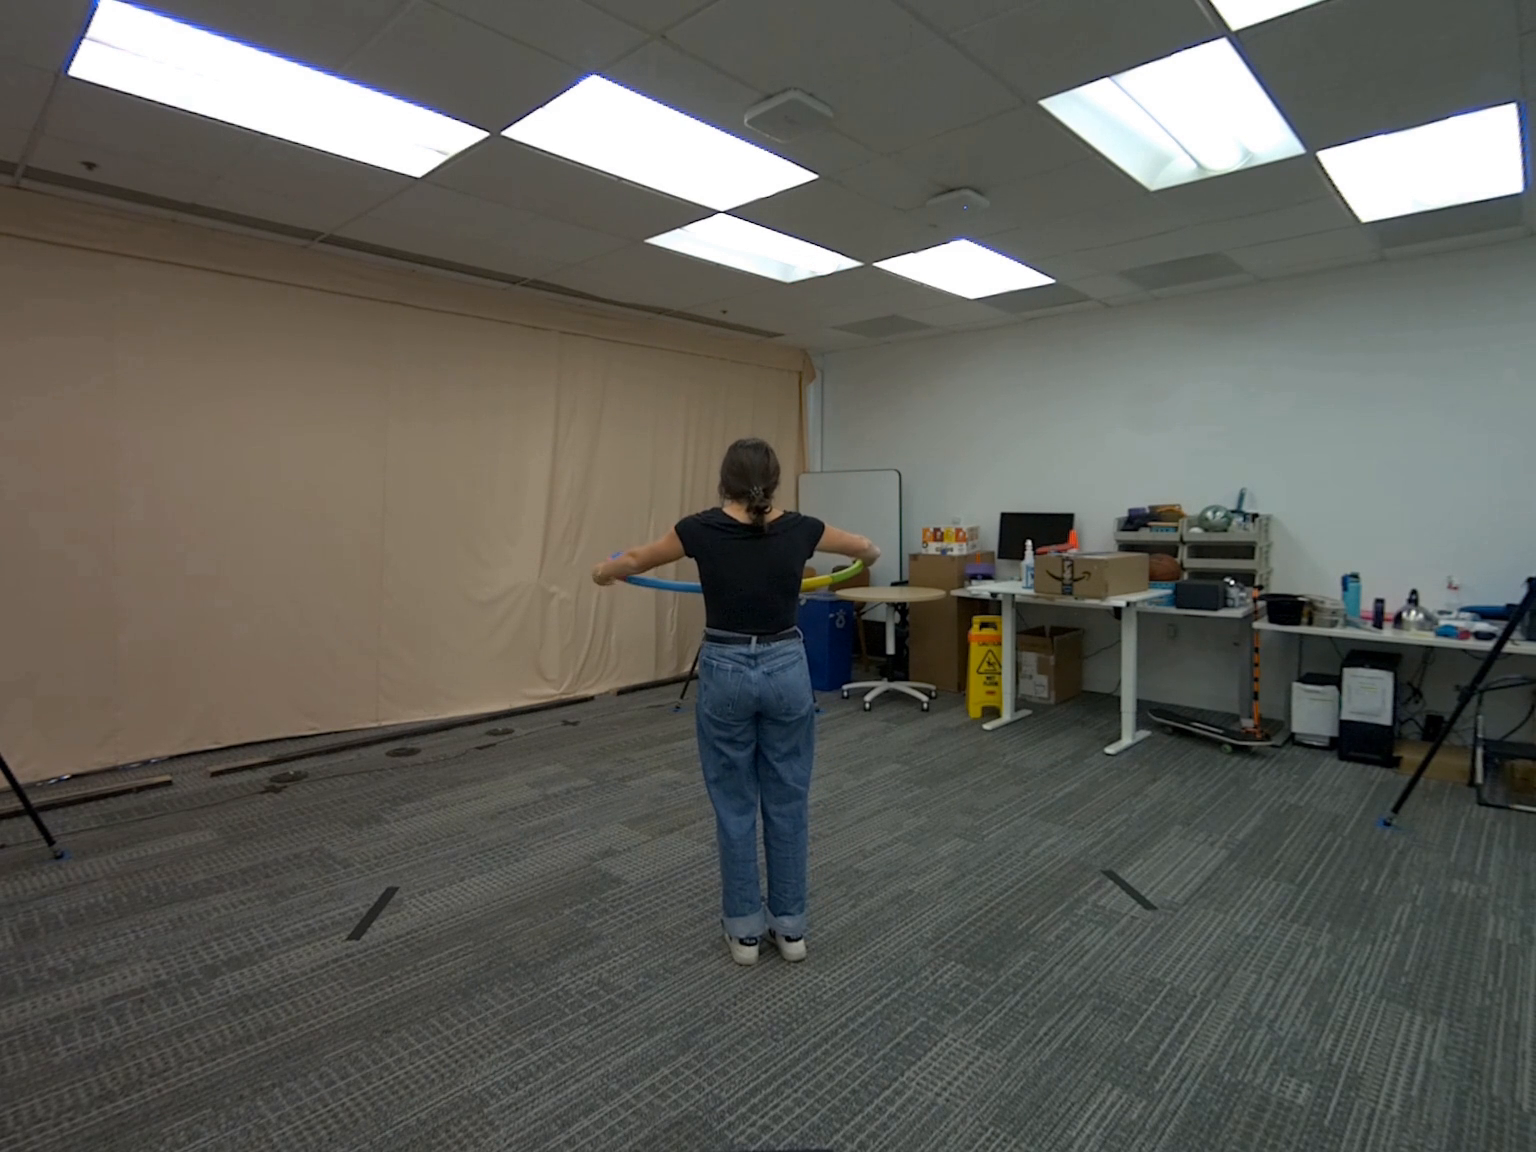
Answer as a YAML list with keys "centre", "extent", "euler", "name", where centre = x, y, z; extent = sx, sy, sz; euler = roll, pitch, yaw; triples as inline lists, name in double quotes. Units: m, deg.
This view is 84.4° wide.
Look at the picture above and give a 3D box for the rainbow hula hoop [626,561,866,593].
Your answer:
- centre: [-0.131, -0.061, 3.141]
  extent: [0.978, 0.035, 0.984]
  euler: [-1, 7, -2]
  name: "rainbow hula hoop"
